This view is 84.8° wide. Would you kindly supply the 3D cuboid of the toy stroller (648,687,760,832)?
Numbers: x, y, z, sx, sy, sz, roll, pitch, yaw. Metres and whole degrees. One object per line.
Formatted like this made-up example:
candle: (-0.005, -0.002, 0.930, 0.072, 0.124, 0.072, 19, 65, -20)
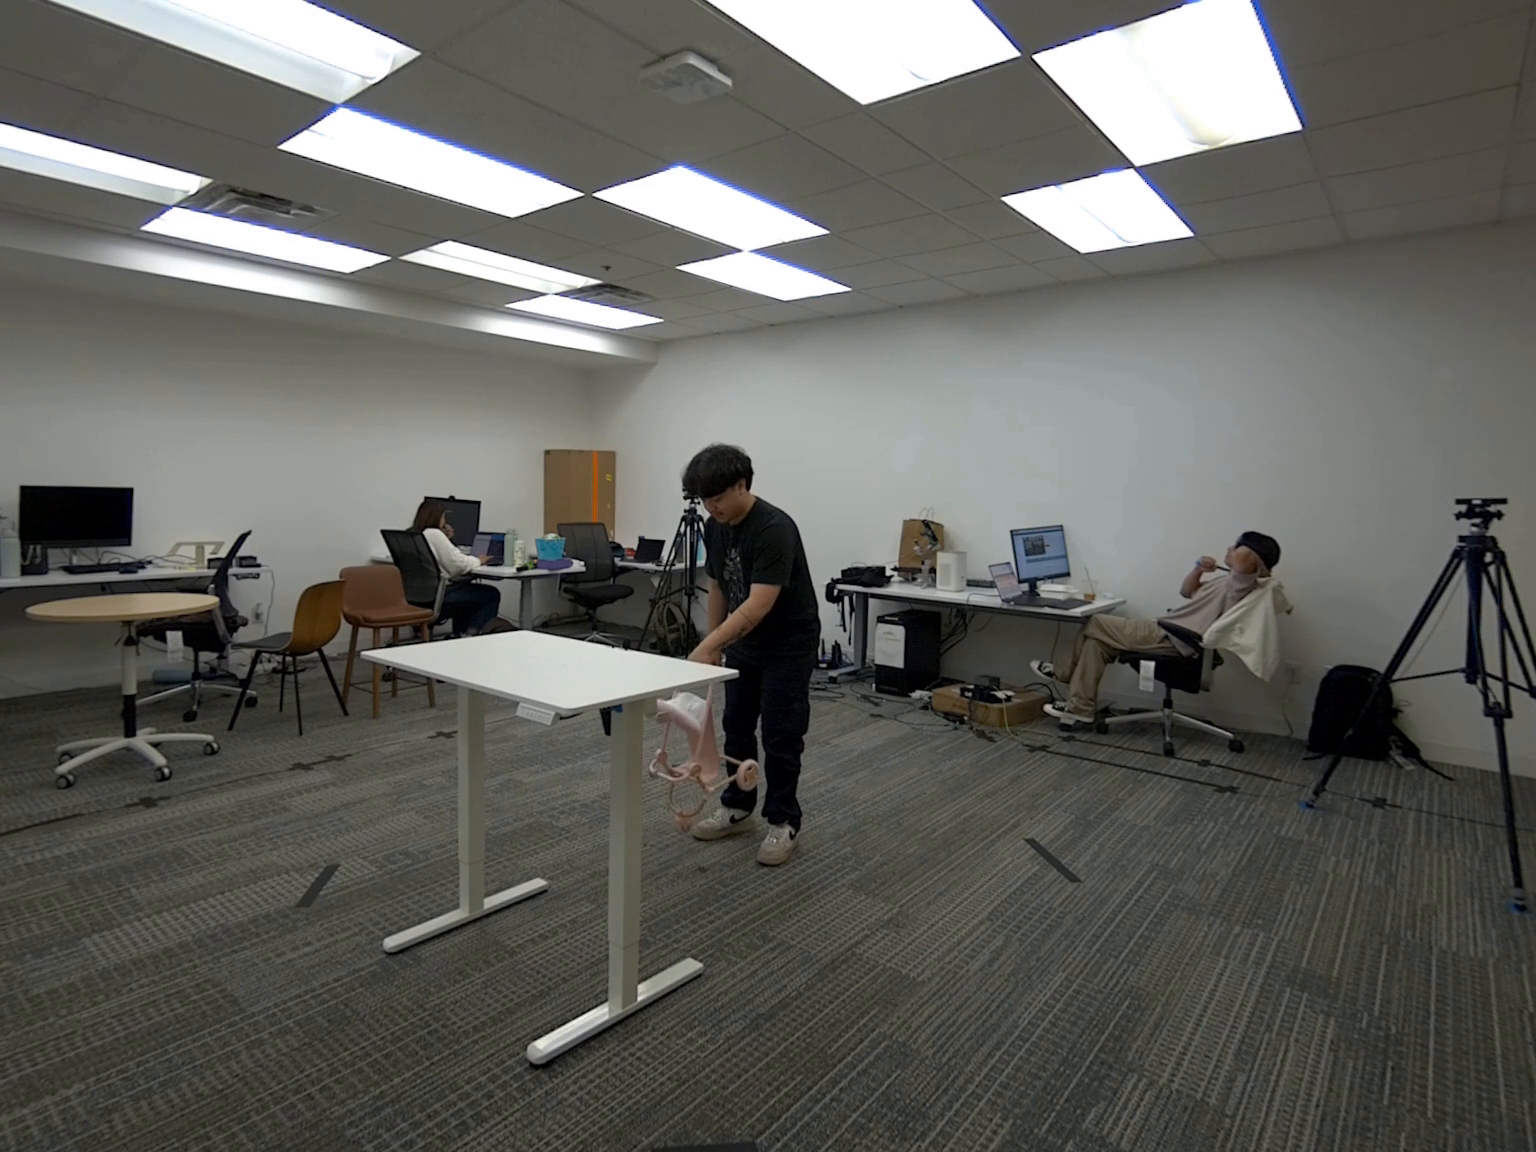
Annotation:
toy stroller: (-0.285, 0.610, 3.031, 0.337, 0.523, 0.291, -30, 24, -32)
